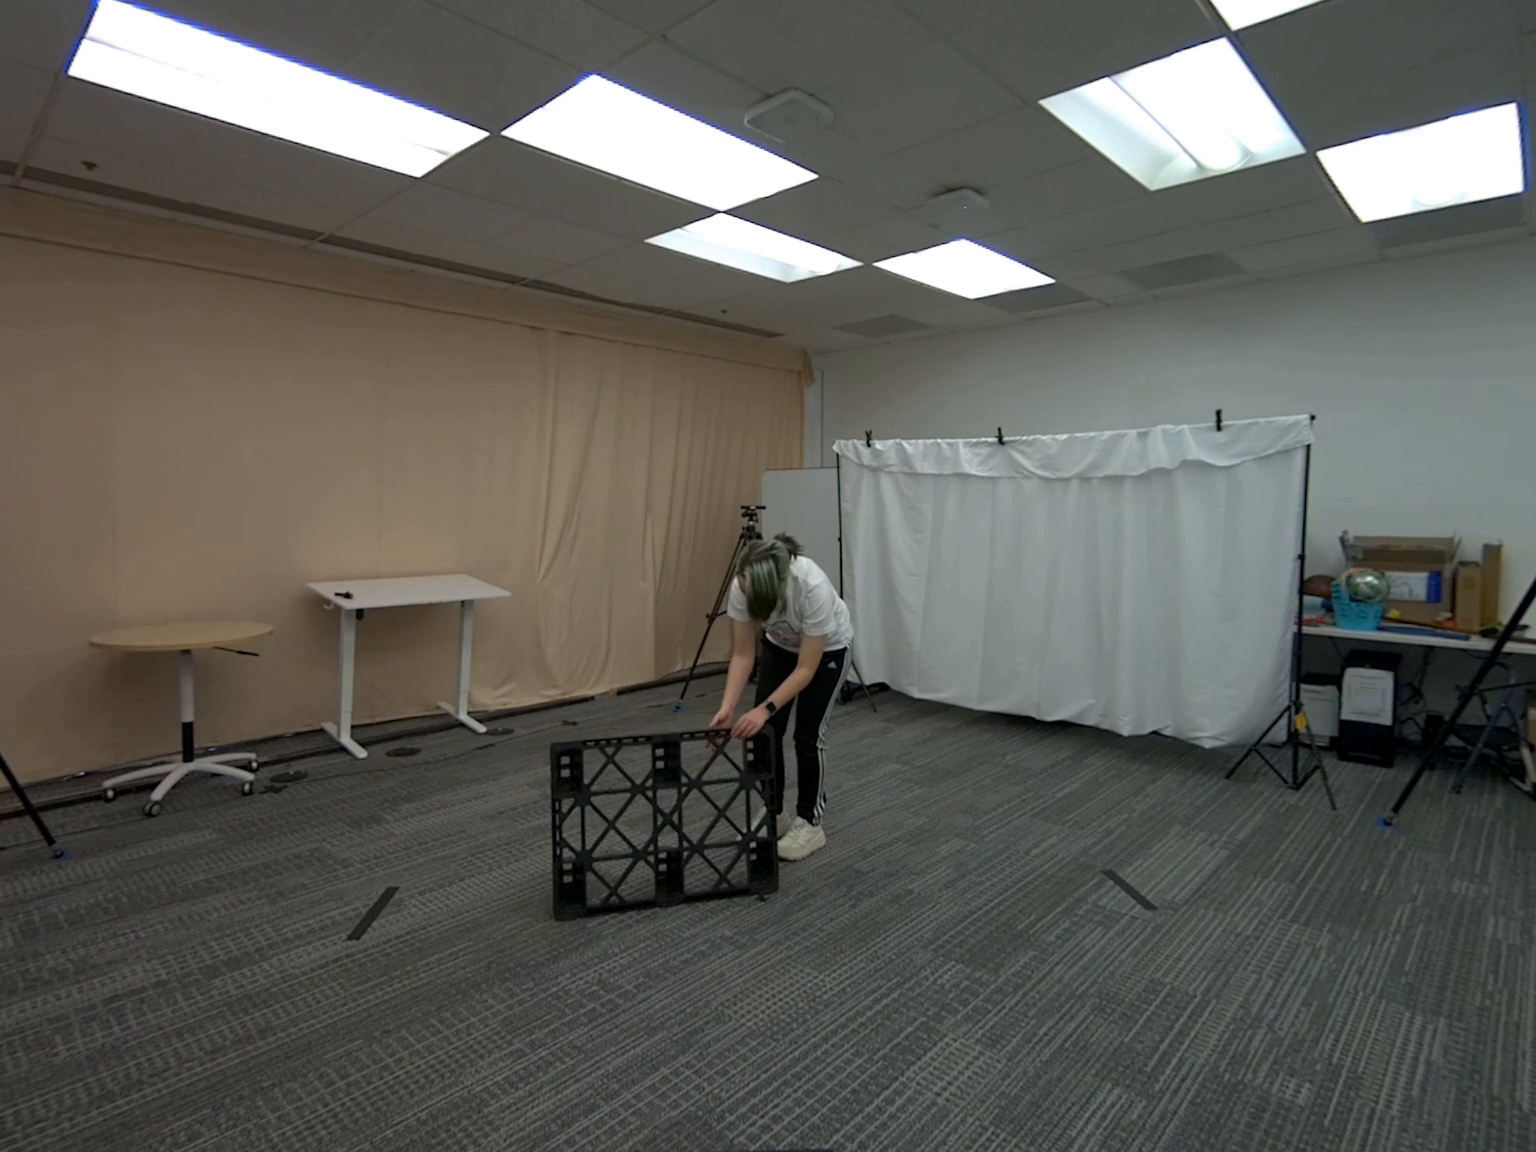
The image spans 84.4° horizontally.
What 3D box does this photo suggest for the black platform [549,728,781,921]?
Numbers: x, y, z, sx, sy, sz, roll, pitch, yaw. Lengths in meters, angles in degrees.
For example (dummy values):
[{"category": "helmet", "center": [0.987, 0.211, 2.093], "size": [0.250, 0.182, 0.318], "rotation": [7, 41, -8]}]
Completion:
[{"category": "black platform", "center": [-0.370, 0.846, 2.988], "size": [0.793, 0.605, 0.145], "rotation": [-1, -1, -15]}]
